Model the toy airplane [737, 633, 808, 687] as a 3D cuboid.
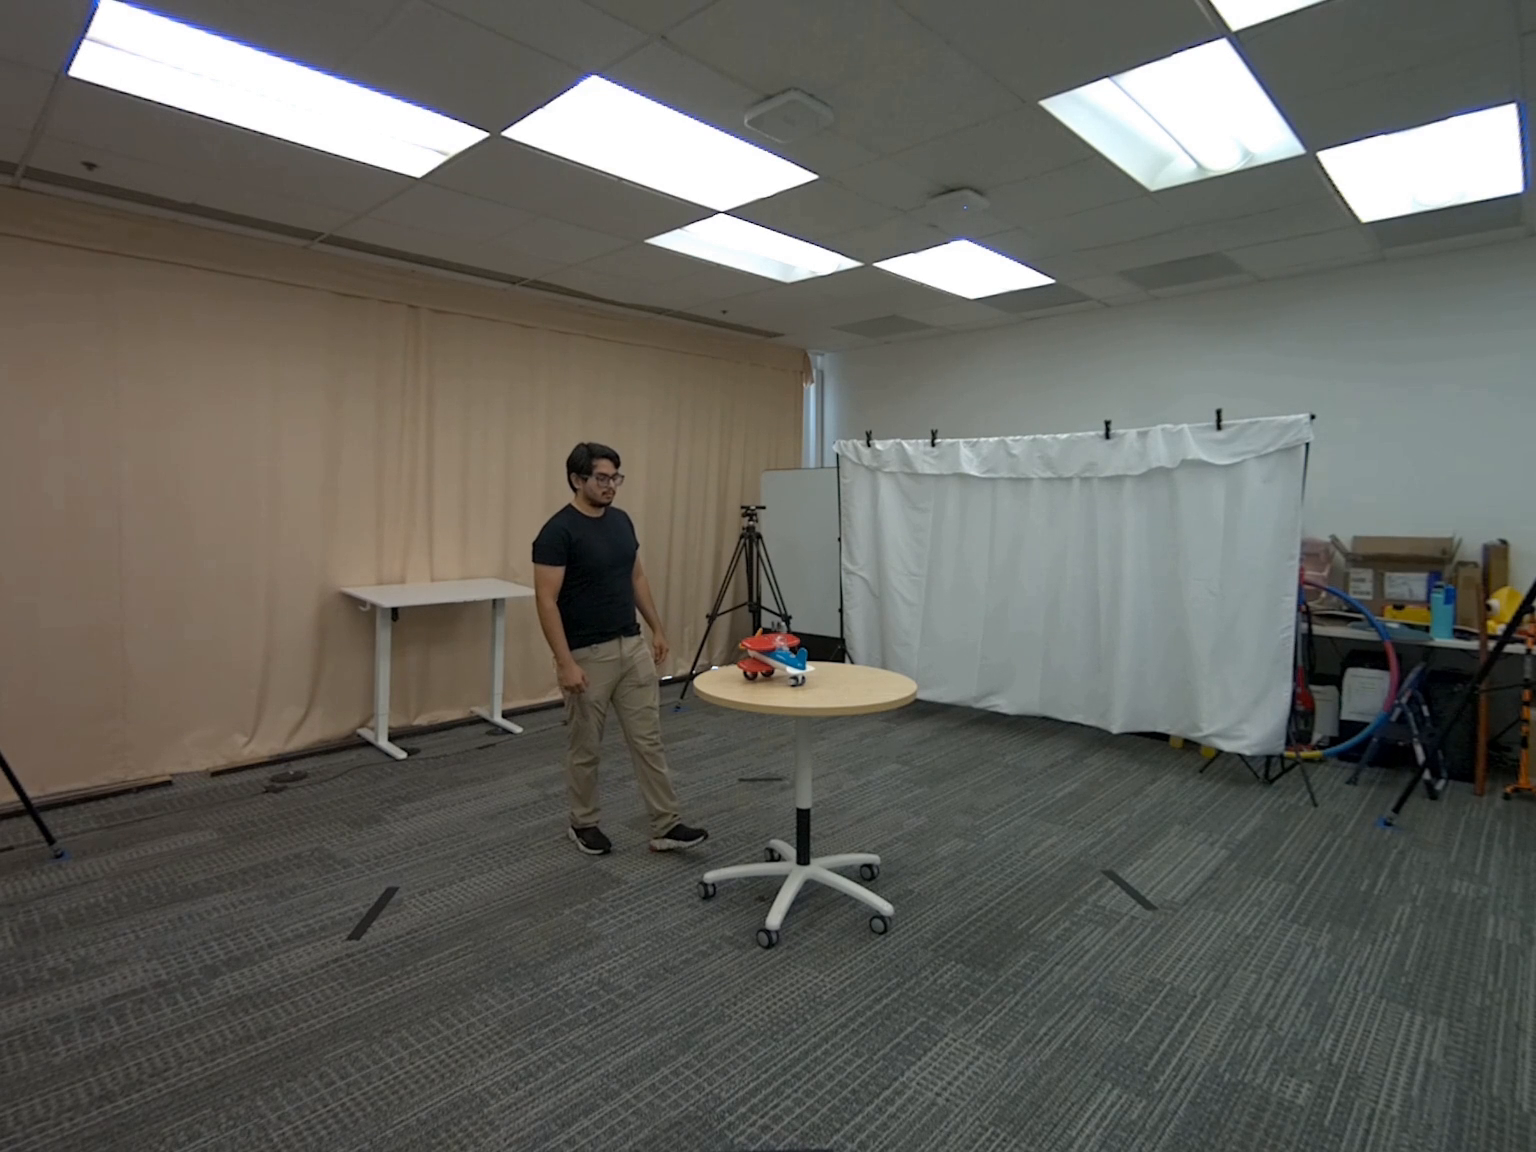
[{"bbox_3d":[0.044,0.288,2.929,0.264,0.156,0.247,-1,4,18],"label":"toy airplane"}]
